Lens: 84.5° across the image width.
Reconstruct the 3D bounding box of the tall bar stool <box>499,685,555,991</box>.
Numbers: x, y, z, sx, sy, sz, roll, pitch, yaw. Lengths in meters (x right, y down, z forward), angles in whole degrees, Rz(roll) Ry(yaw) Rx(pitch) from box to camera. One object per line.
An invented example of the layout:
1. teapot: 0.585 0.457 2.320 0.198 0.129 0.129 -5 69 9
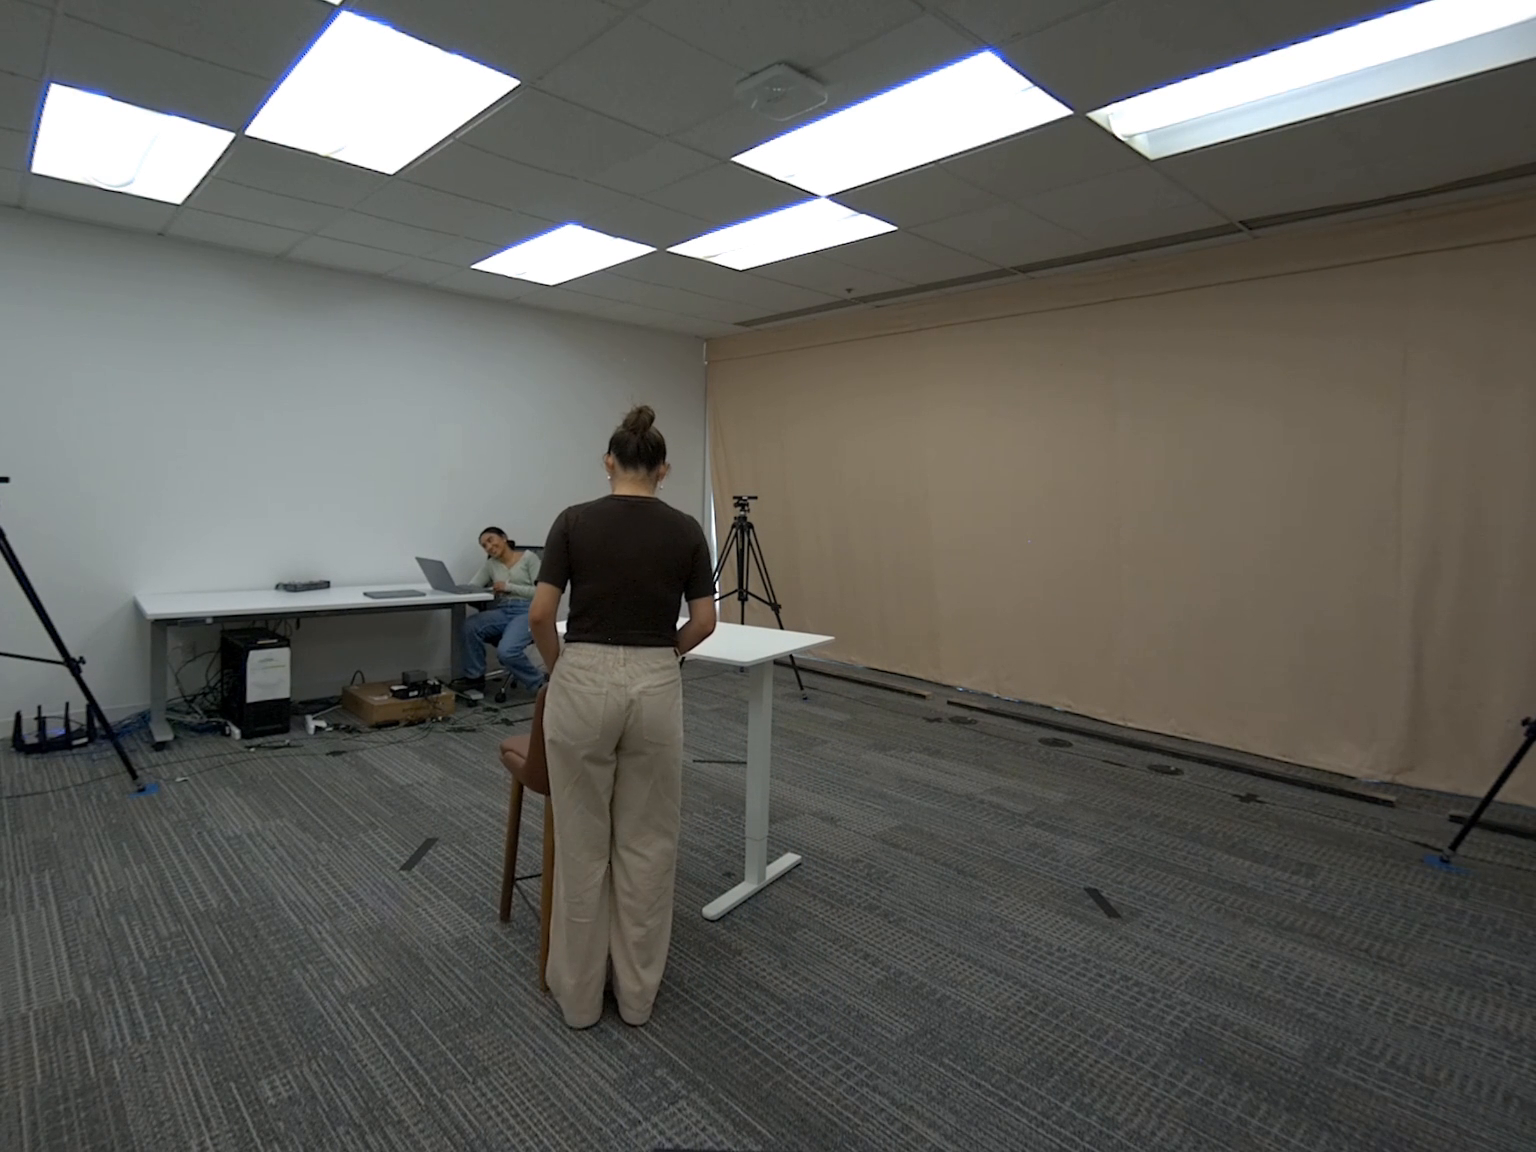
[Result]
1. tall bar stool: -0.576 0.699 2.601 0.447 0.887 0.478 -1 5 -29
